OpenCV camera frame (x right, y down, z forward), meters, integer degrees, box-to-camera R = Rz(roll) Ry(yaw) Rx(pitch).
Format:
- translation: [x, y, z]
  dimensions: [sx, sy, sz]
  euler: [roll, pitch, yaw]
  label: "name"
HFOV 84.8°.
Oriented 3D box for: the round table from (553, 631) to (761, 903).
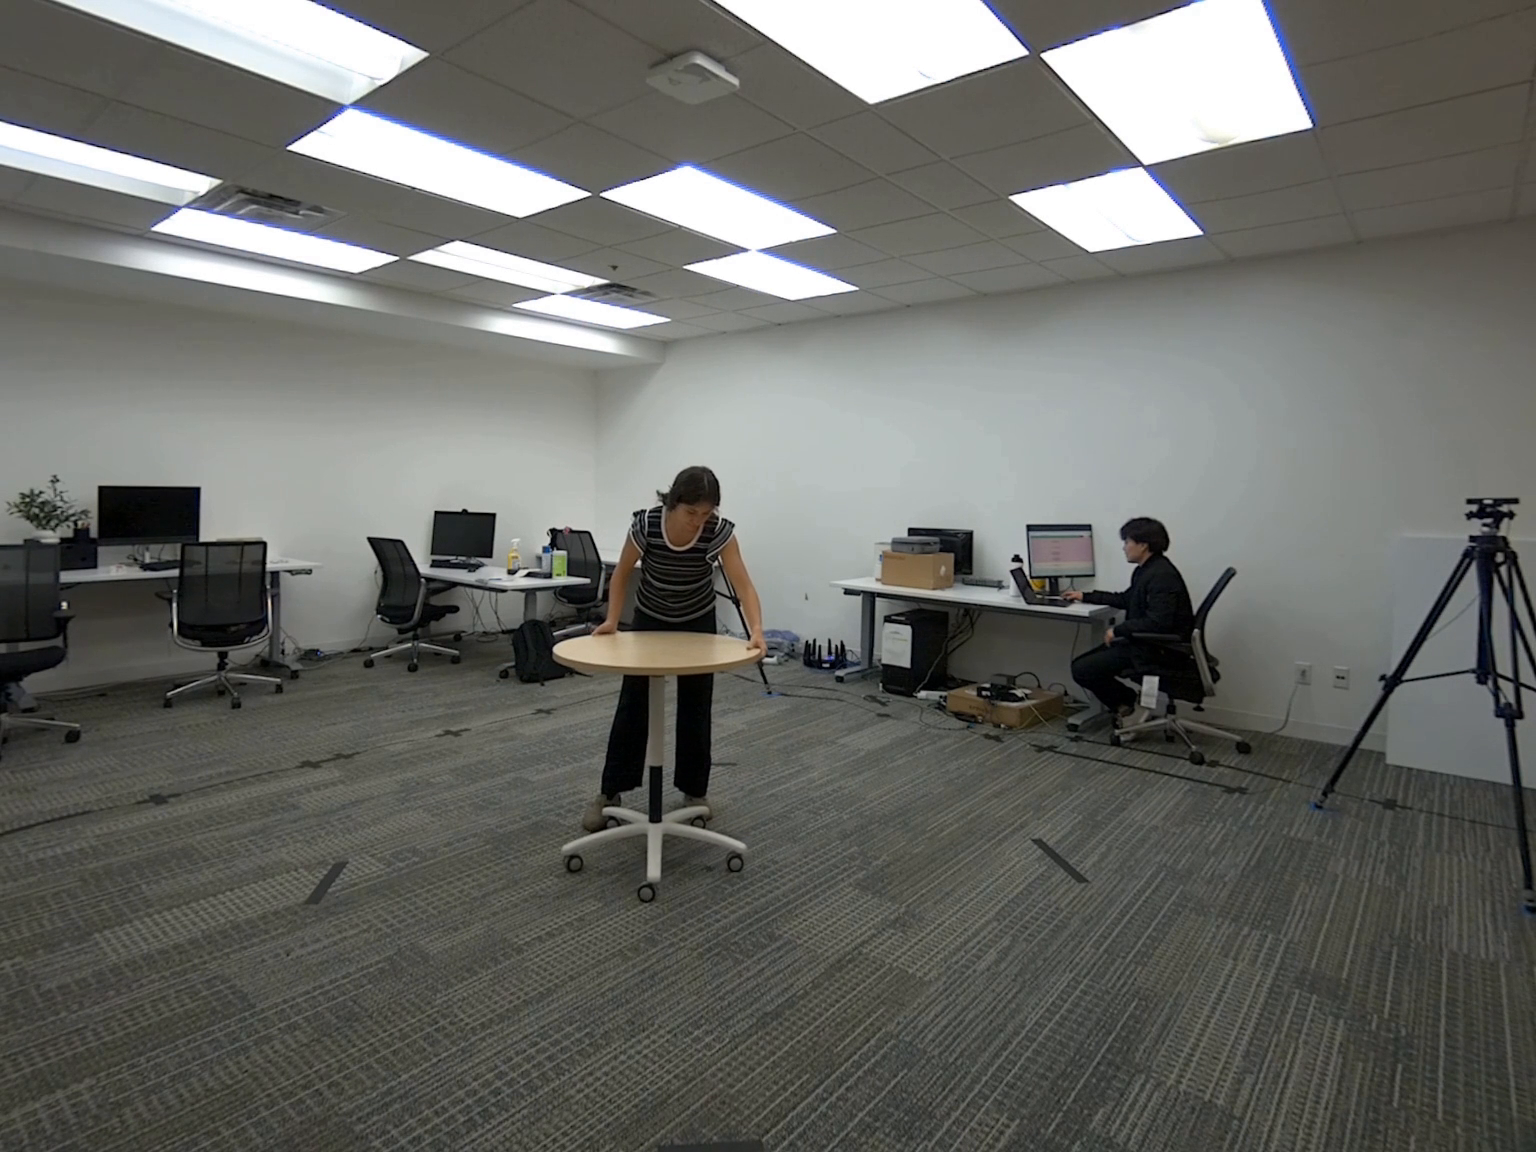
- translation: [-0.420, 0.654, 3.177]
  dimensions: [0.784, 0.784, 0.789]
  euler: [1, 4, -2]
  label: "round table"
